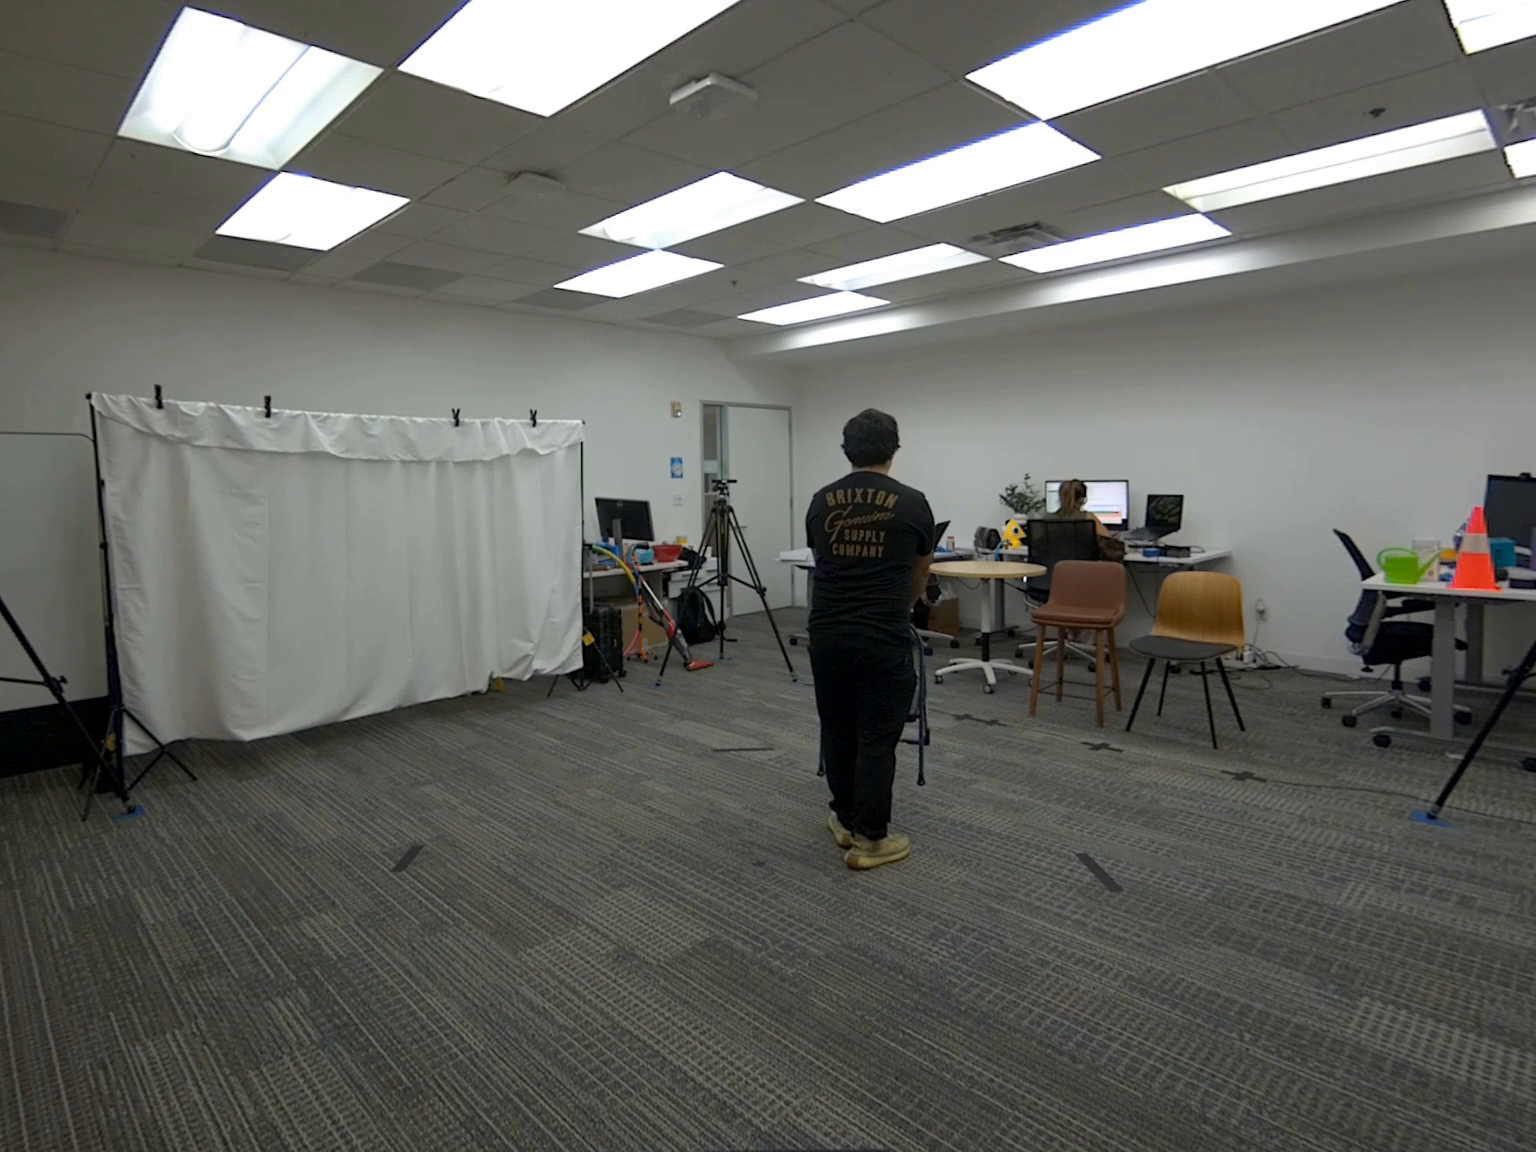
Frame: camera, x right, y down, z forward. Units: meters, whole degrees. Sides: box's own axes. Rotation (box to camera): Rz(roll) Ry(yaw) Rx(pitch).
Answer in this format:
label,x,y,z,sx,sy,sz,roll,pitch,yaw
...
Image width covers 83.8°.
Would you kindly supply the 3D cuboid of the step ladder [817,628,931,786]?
label,x,y,z,sx,sy,sz,roll,pitch,yaw
step ladder,0.438,0.473,3.473,0.438,0.597,0.348,1,16,17
